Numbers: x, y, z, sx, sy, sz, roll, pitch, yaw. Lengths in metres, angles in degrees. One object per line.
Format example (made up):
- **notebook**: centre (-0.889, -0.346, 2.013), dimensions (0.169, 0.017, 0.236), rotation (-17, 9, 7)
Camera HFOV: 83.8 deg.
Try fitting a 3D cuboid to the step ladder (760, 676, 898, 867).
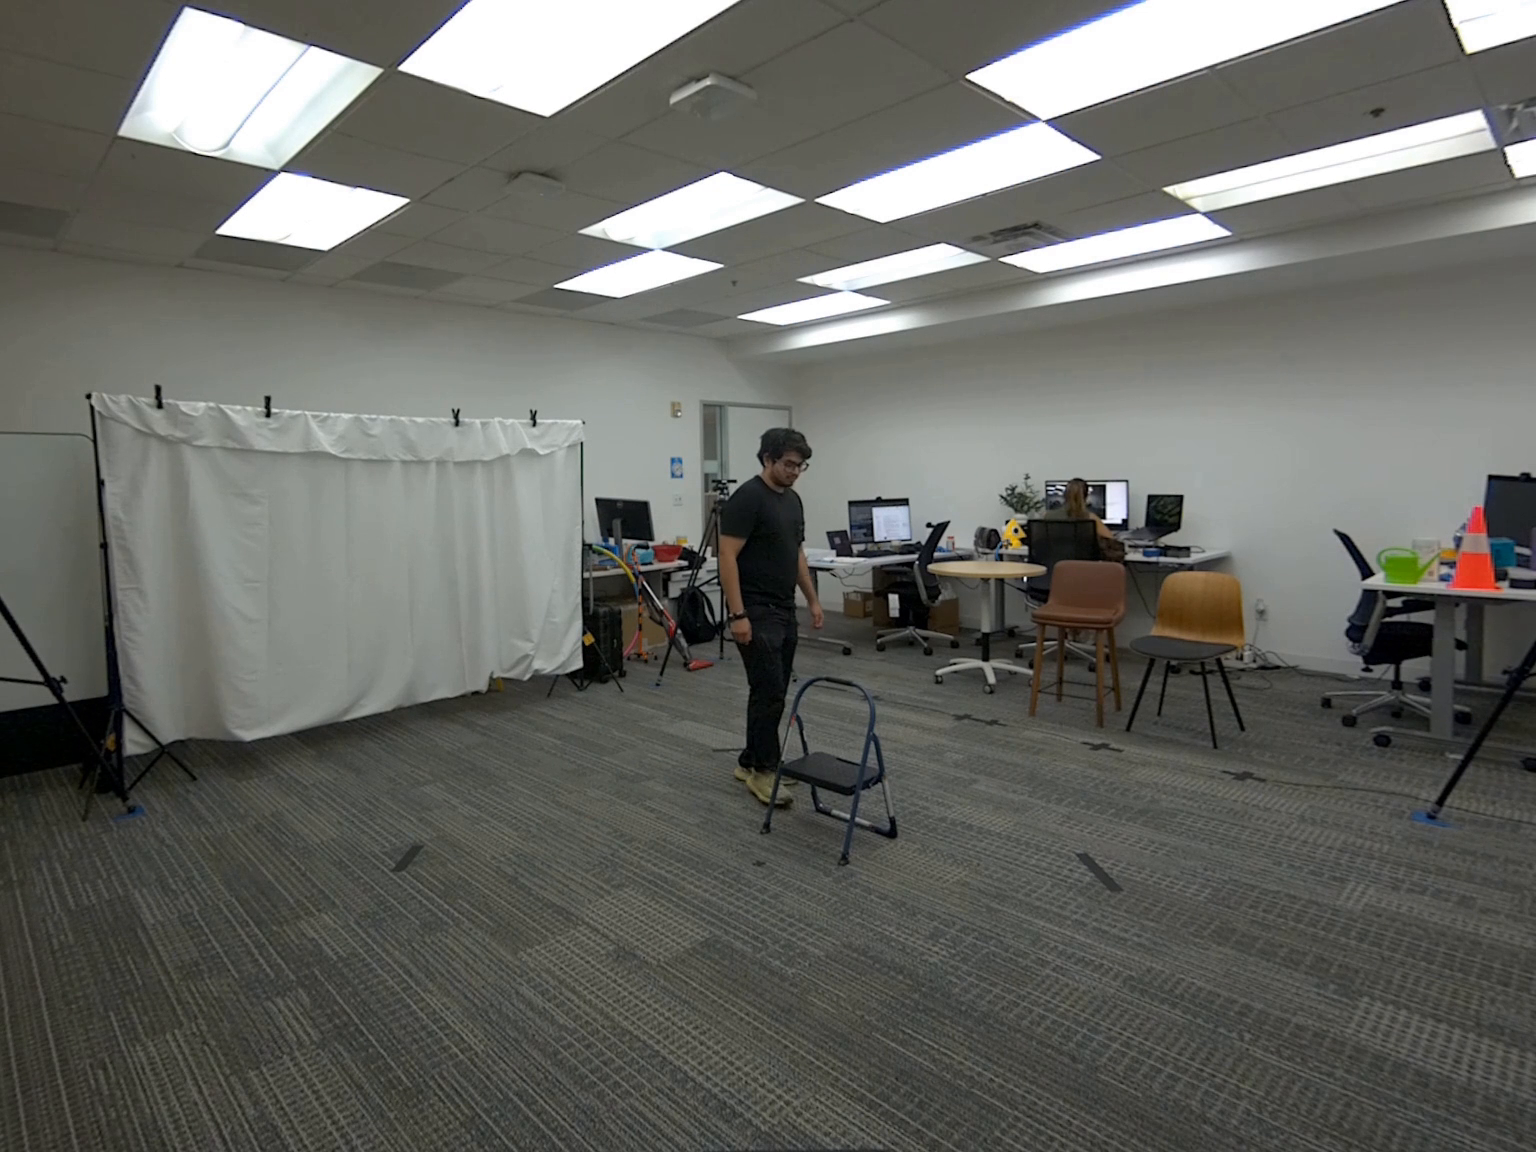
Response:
- **step ladder**: centre (0.237, 0.713, 3.331), dimensions (0.340, 0.604, 0.444), rotation (-5, 6, -45)
